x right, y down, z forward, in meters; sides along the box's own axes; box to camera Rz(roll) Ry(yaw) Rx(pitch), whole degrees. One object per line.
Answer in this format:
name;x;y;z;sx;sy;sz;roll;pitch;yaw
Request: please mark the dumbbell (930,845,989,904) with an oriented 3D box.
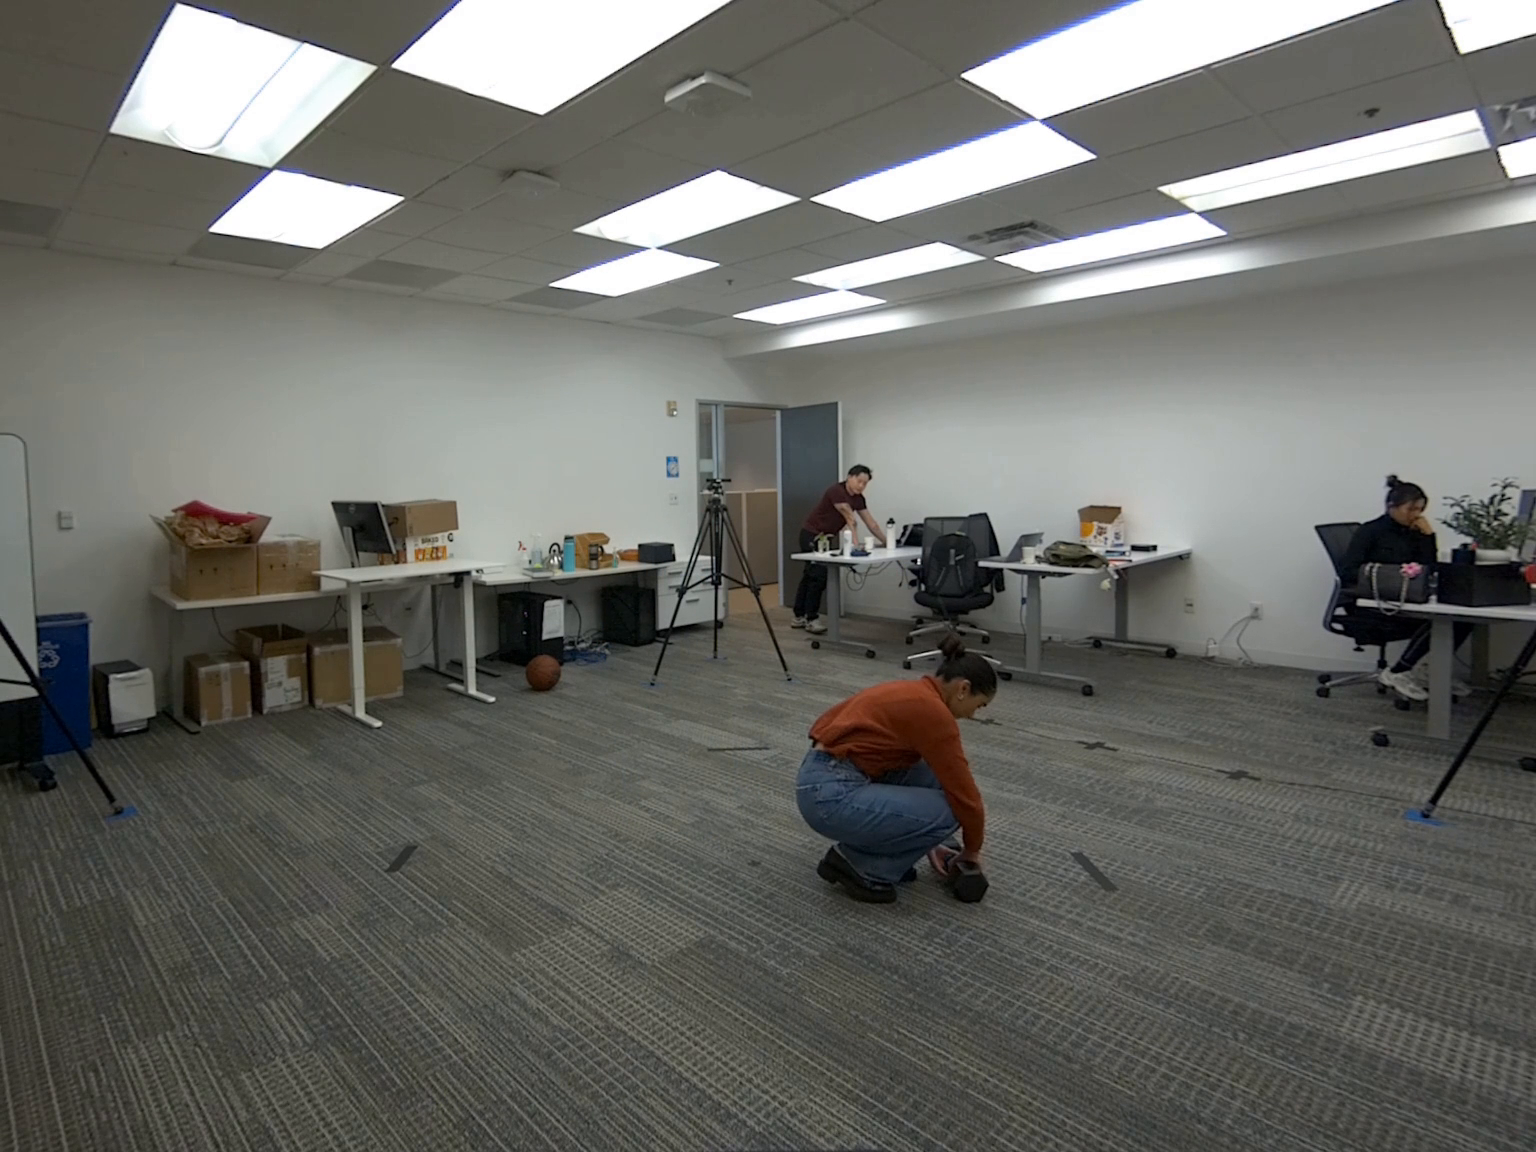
dumbbell;0.645;0.988;2.920;0.109;0.122;0.296;-35;9;-1
